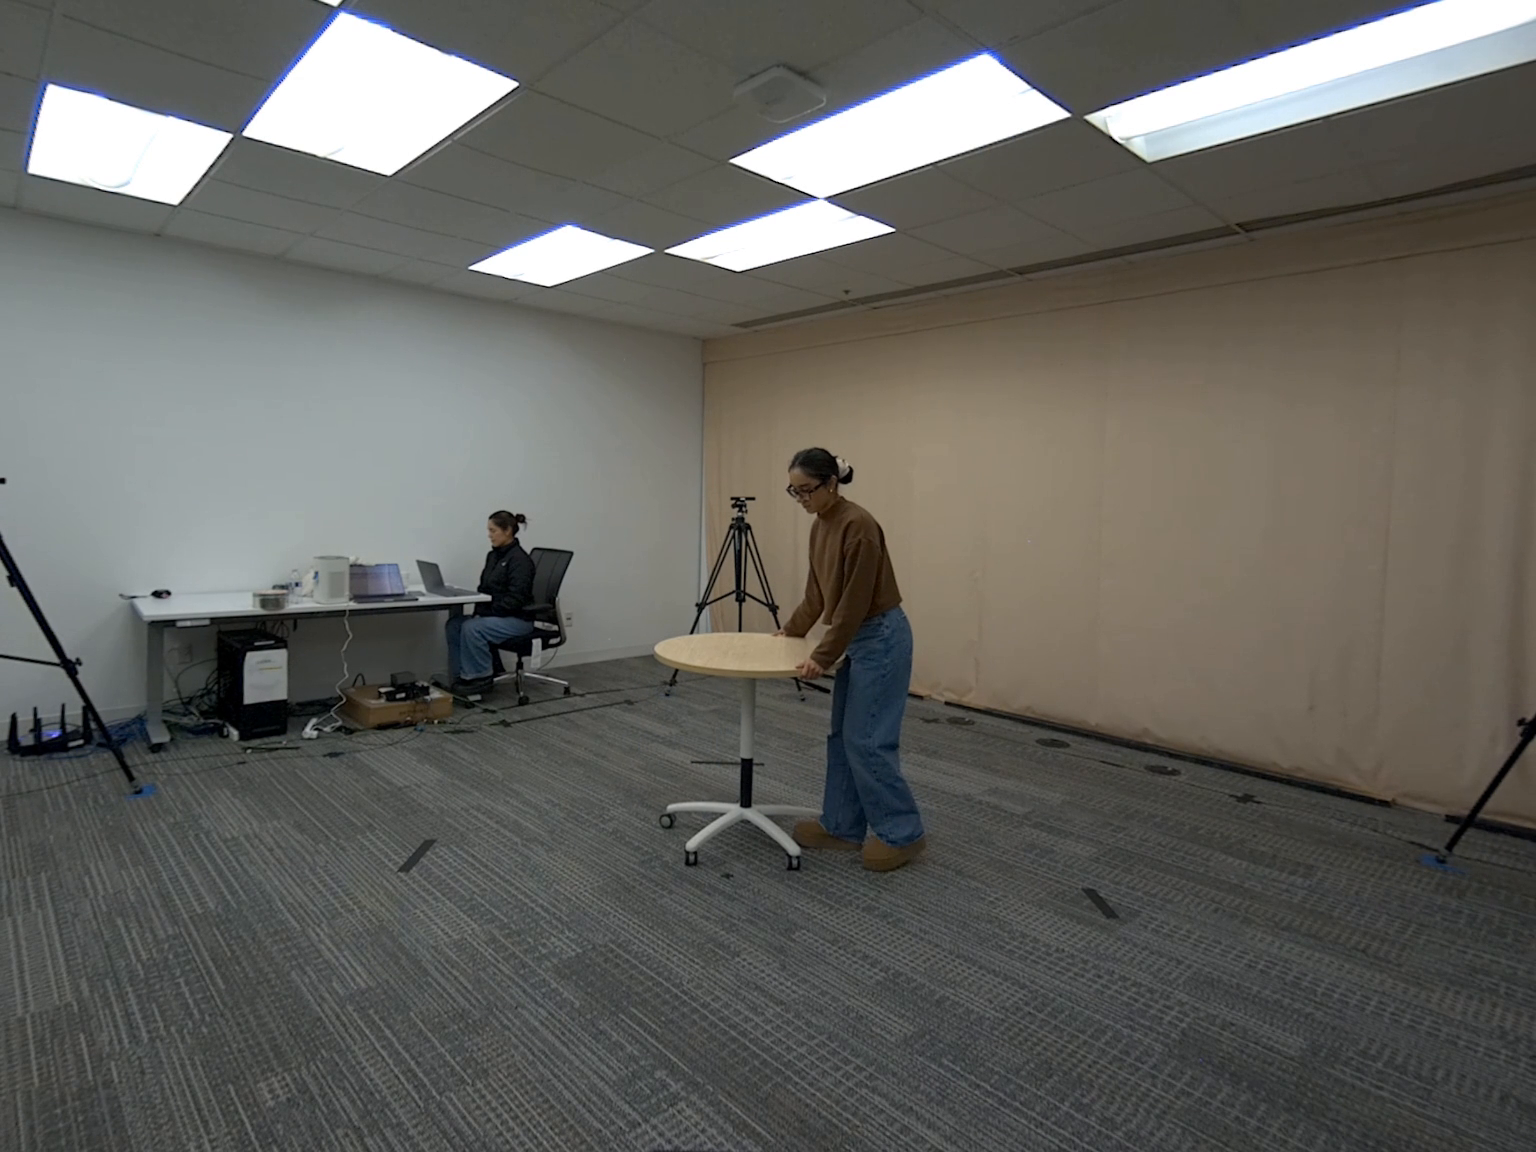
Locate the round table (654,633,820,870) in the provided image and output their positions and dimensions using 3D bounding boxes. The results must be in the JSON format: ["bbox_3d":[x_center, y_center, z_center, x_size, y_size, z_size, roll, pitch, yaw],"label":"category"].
[{"bbox_3d":[-0.092,0.685,3.402,0.763,0.791,0.767,2,5,-2],"label":"round table"}]
